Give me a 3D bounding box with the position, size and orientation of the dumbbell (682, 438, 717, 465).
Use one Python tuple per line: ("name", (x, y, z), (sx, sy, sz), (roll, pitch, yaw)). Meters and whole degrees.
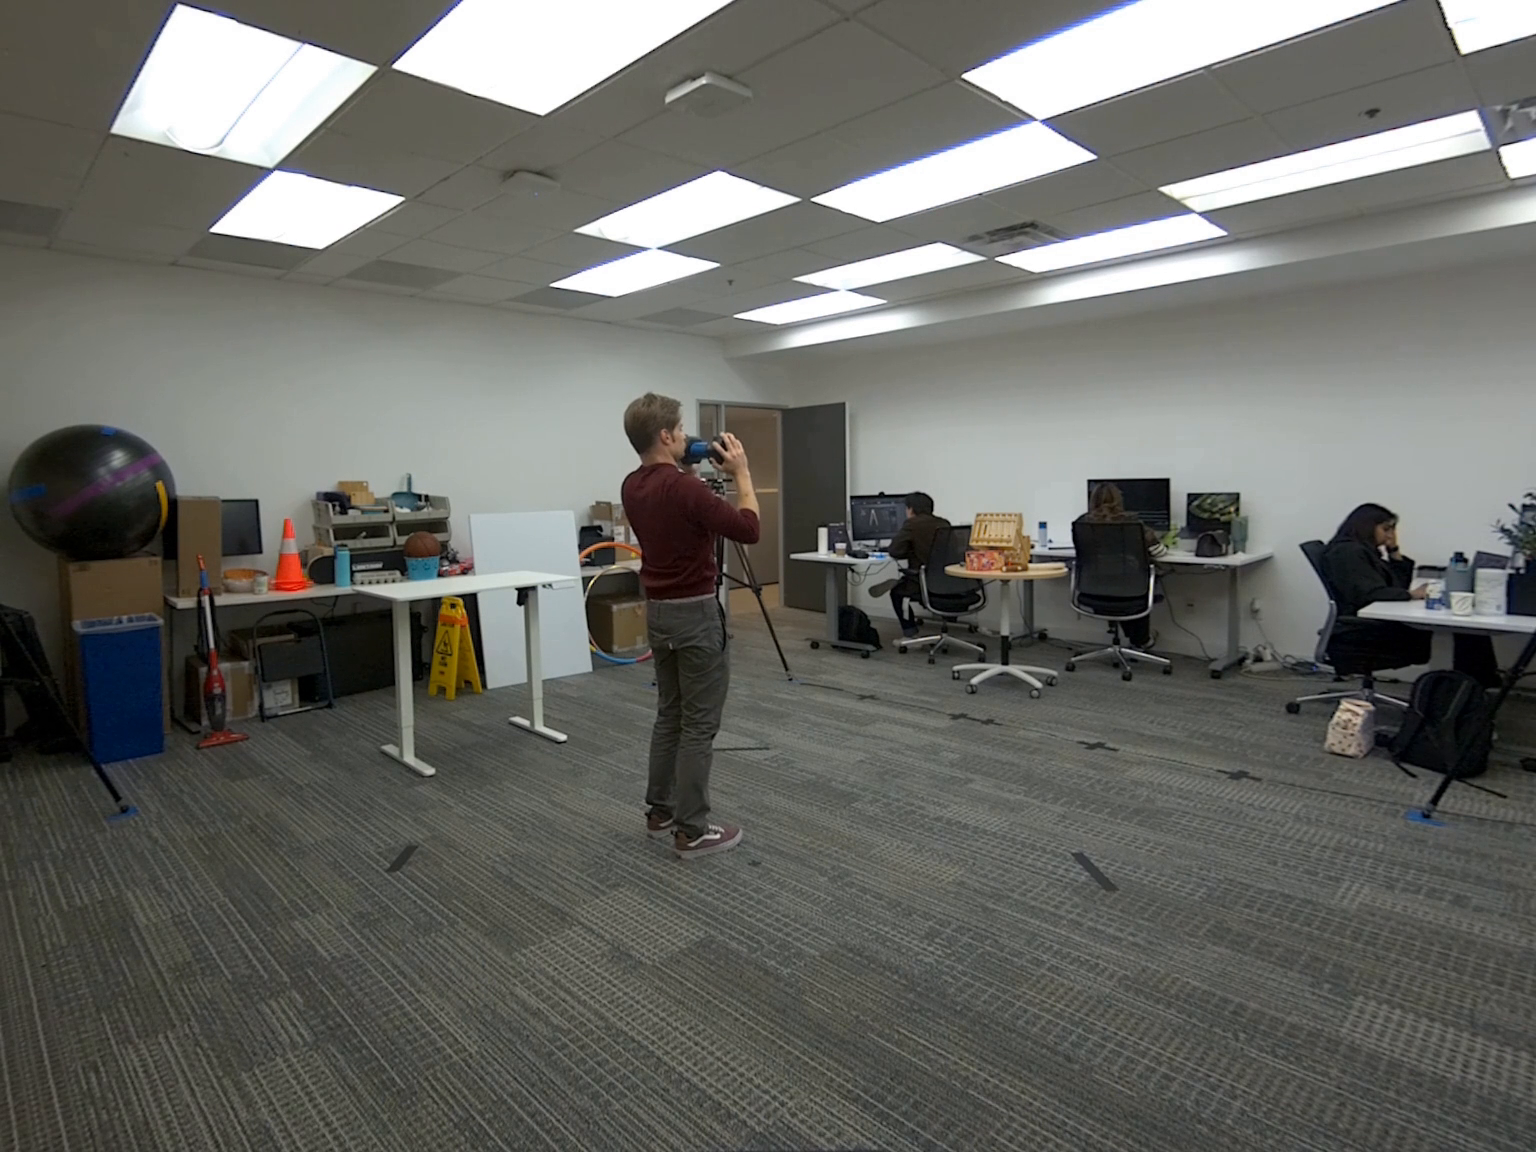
("dumbbell", (-0.237, -0.488, 3.275), (0.108, 0.119, 0.303), (-38, 29, -28))
